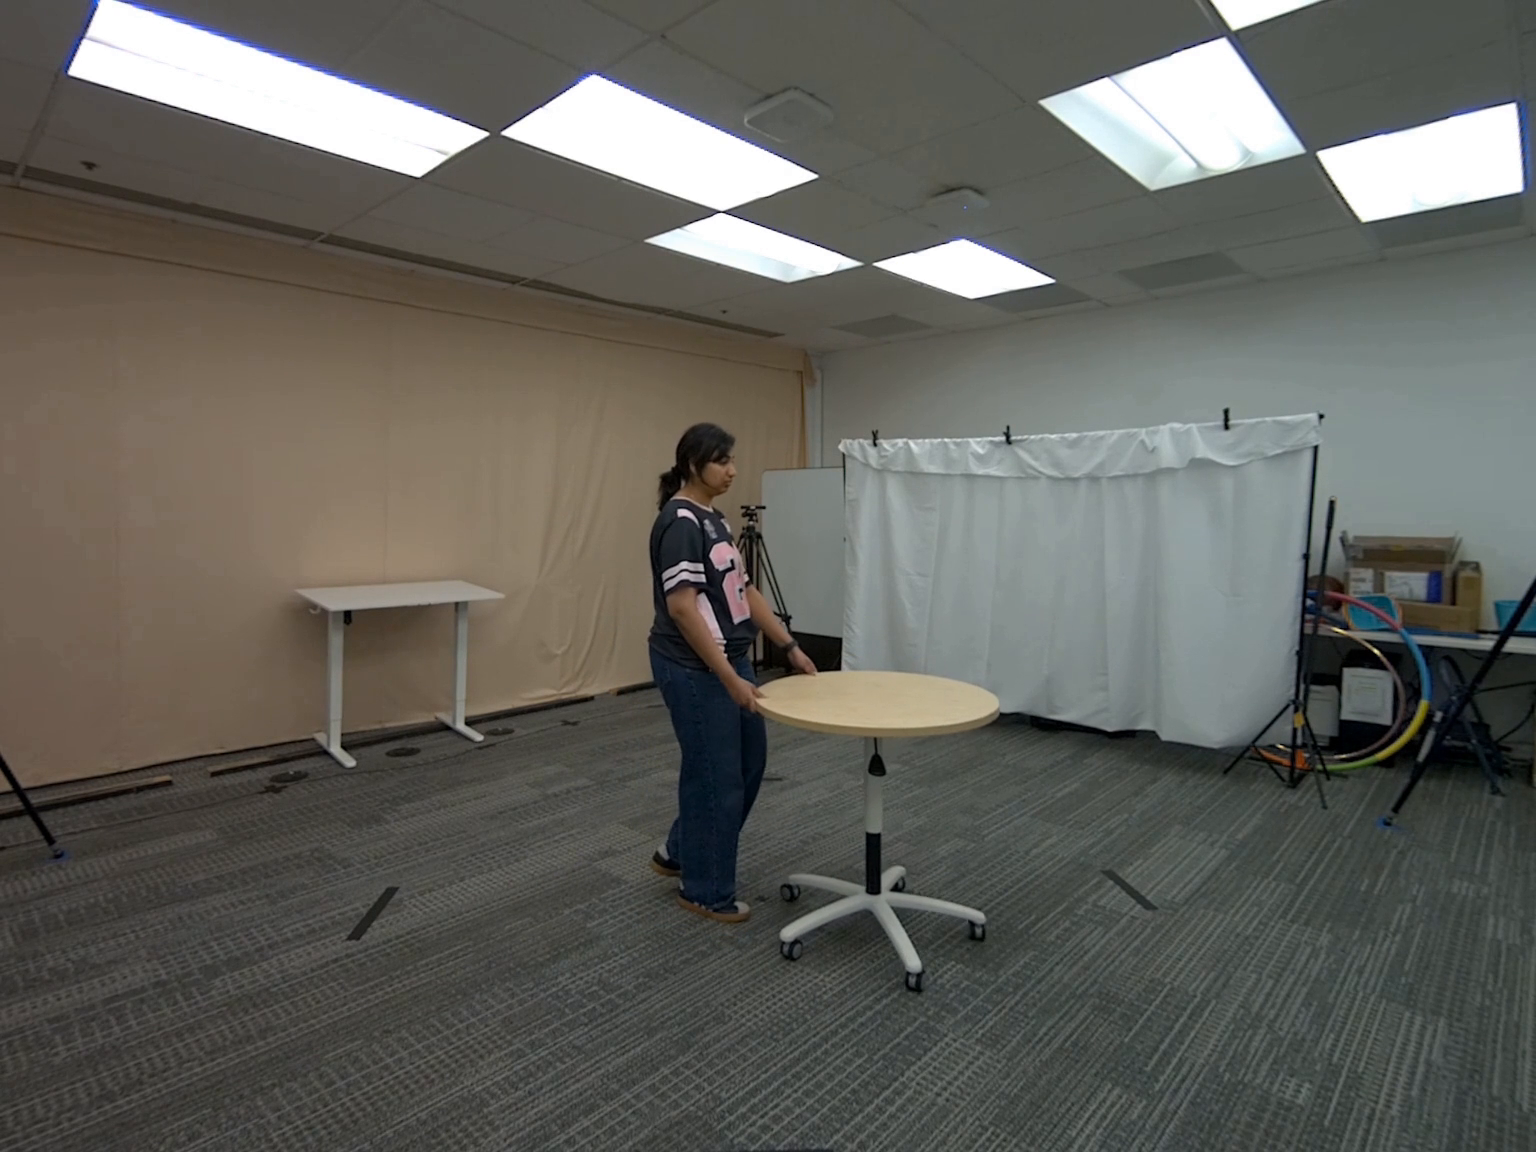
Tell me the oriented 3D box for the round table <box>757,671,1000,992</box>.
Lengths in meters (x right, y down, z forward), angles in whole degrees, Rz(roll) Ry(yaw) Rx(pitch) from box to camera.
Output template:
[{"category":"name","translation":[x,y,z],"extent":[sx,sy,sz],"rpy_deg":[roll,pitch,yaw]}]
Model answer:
[{"category":"round table","translation":[0.342,0.769,2.726],"extent":[0.784,0.784,0.788],"rpy_deg":[-1,4,-2]}]
